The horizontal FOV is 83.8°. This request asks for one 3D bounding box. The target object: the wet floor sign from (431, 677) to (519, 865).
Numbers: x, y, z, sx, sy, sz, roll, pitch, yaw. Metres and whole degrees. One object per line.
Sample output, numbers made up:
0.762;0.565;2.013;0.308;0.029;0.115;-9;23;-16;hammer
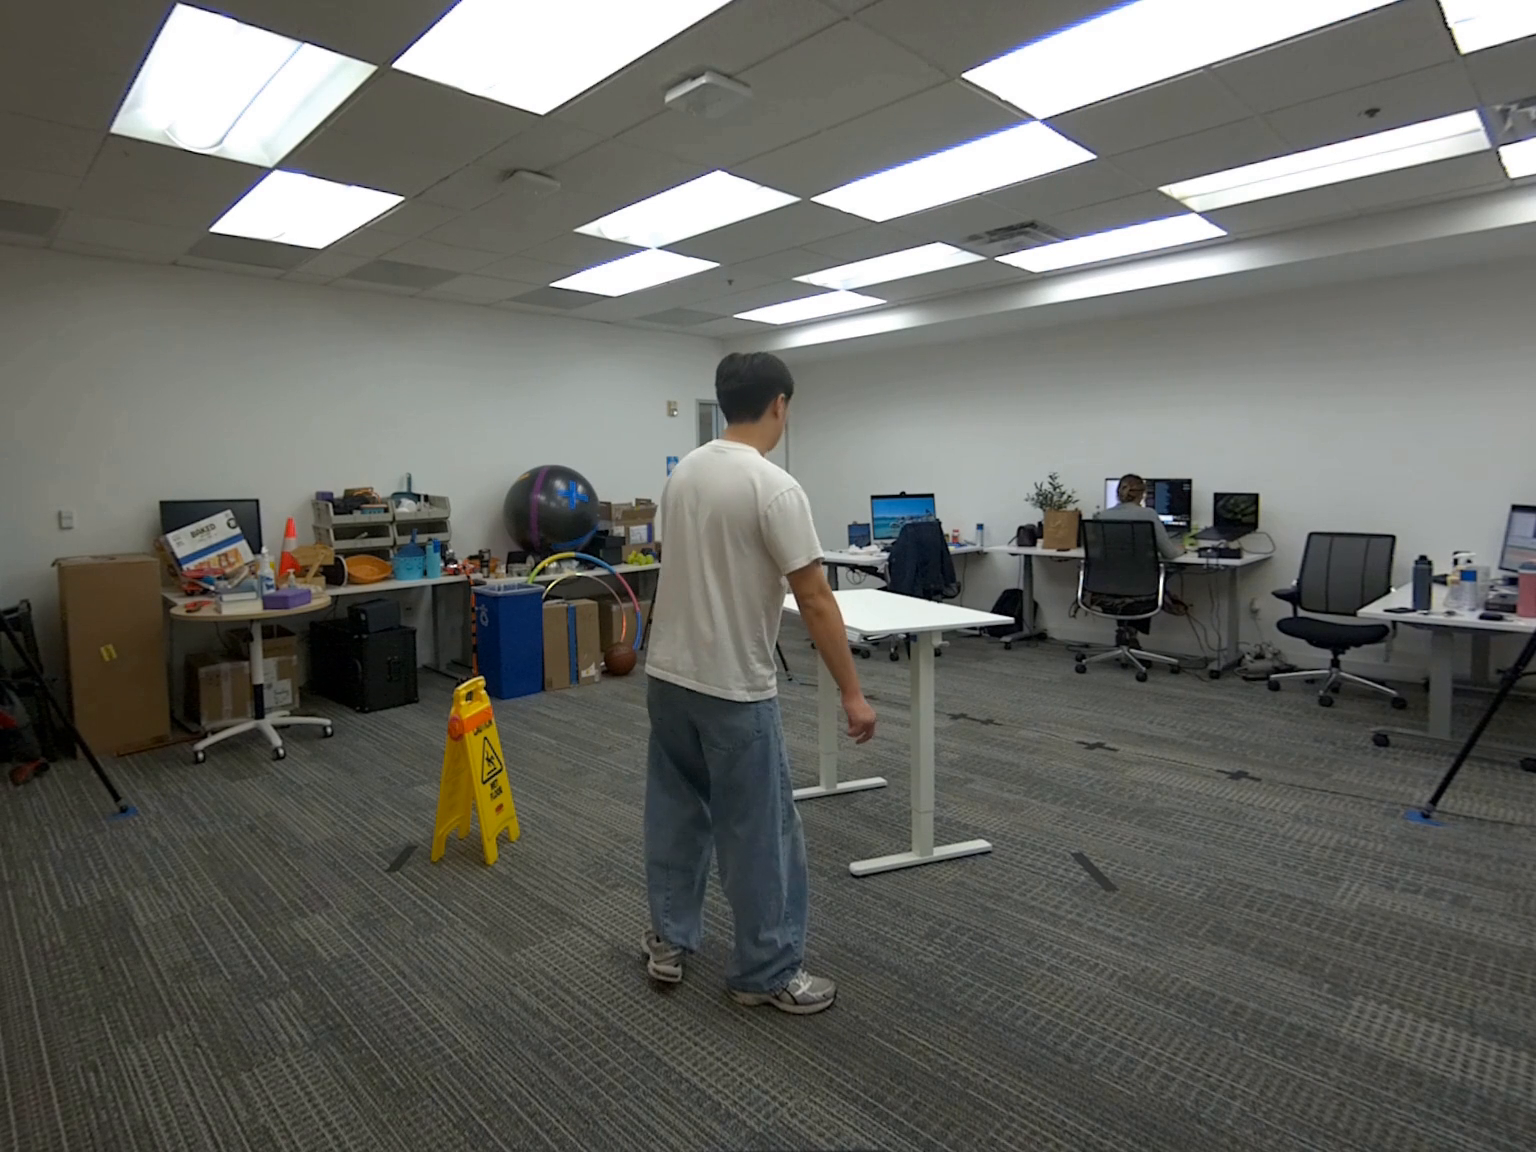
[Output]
-1.130;0.723;3.262;0.292;0.644;0.281;-1;3;8;wet floor sign
